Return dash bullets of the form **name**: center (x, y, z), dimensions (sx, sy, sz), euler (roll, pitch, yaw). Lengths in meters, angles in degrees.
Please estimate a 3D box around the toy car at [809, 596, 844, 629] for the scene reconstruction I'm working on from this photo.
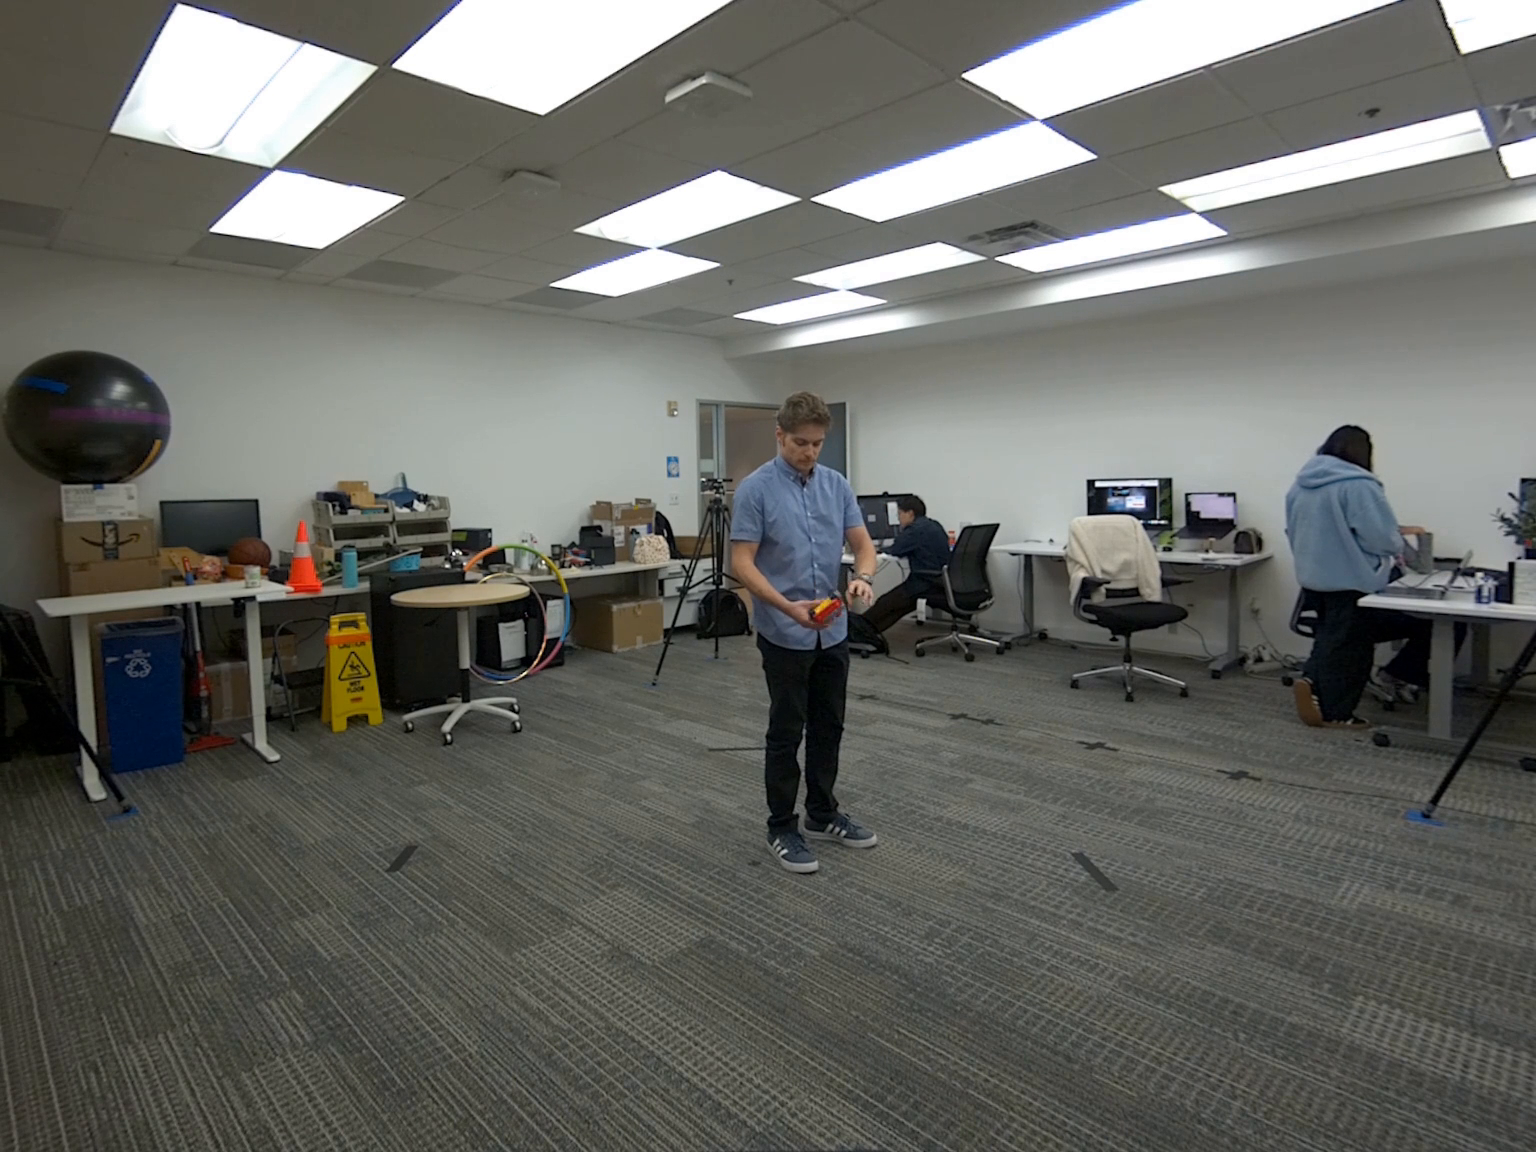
- **toy car**: center (0.192, 0.108, 2.821), dimensions (0.130, 0.085, 0.250), euler (-39, -13, 2)
